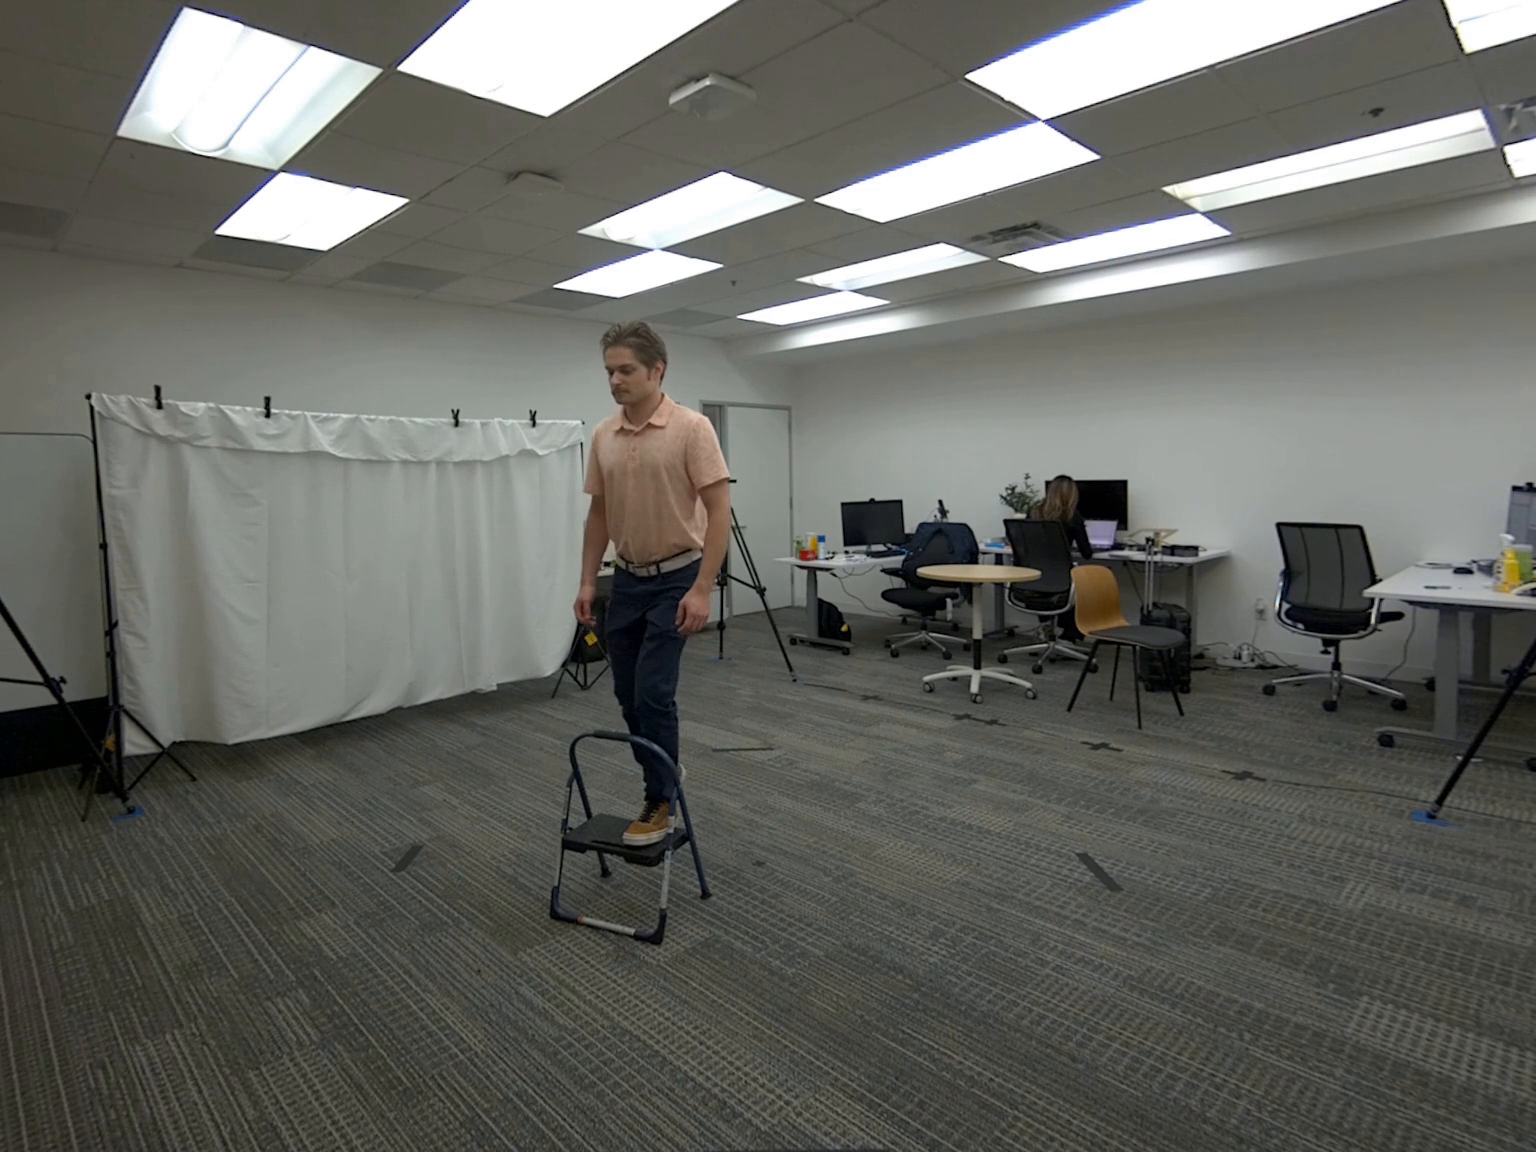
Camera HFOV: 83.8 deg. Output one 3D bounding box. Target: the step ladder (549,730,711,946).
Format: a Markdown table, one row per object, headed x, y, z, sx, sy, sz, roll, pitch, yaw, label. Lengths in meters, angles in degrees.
| x | y | z | sx | sy | sz | roll | pitch | yaw | label |
| --- | --- | --- | --- | --- | --- | --- | --- | --- | --- |
| -0.458 | 0.790 | 2.793 | 0.440 | 0.603 | 0.343 | 0 | 5 | 24 | step ladder |
